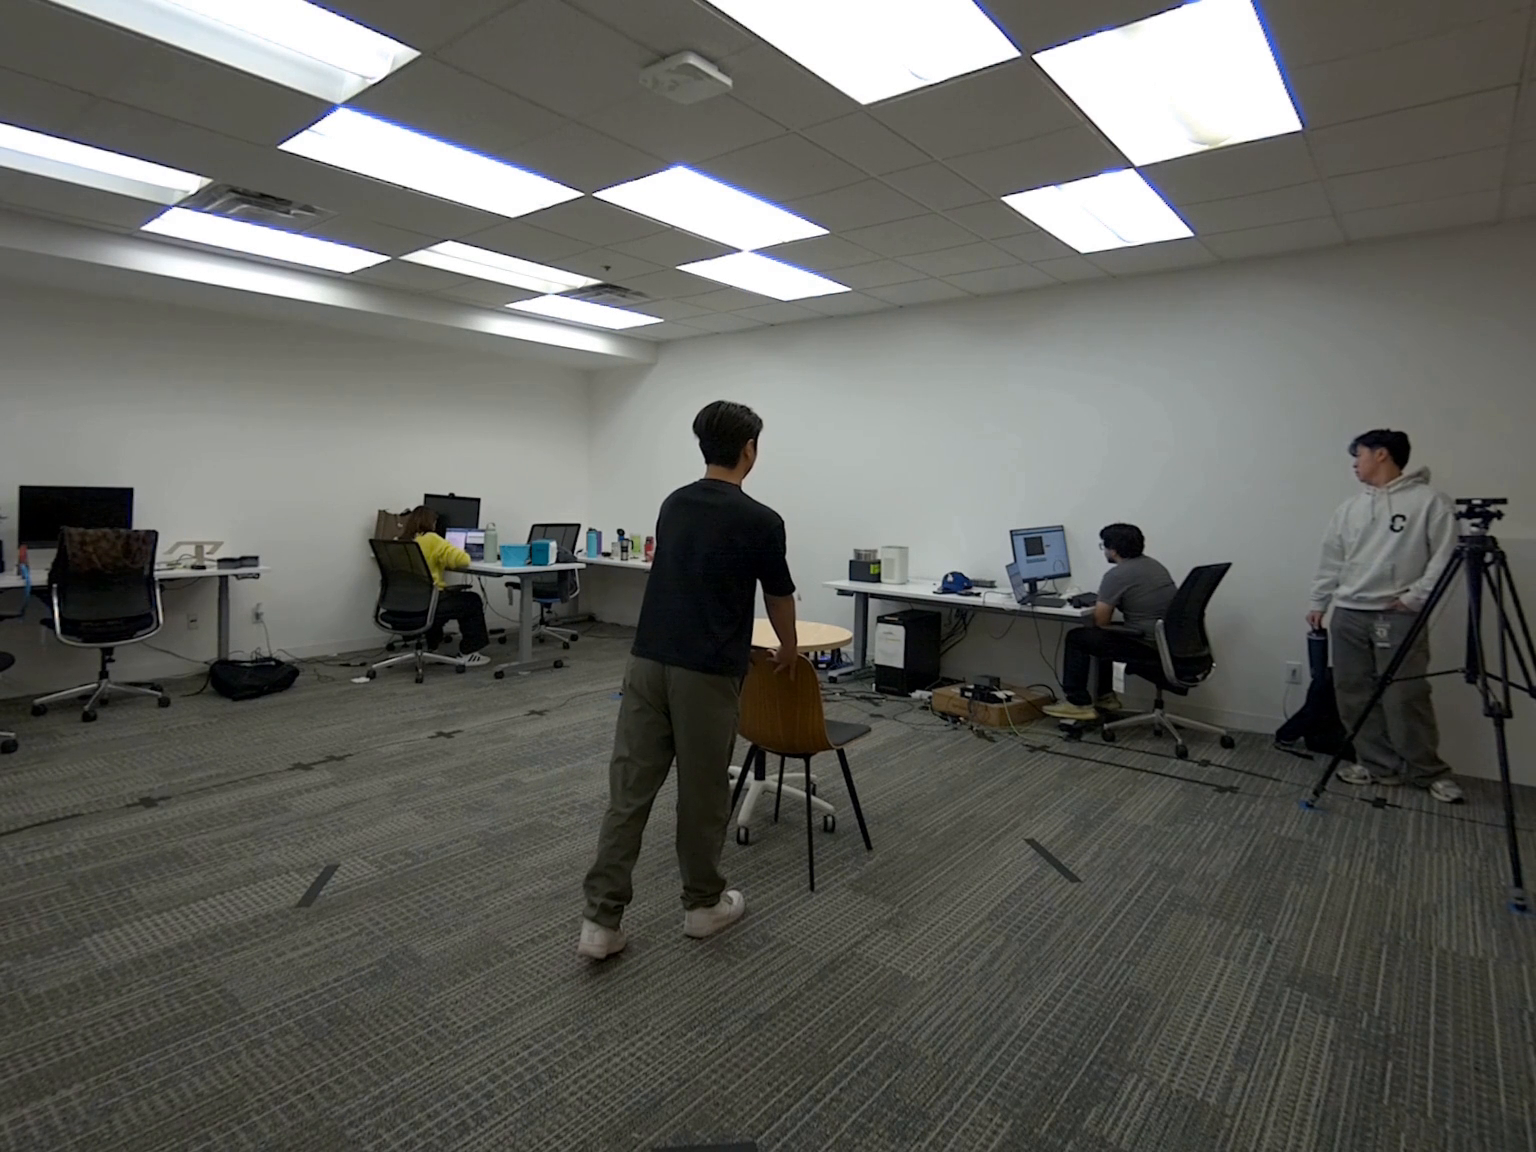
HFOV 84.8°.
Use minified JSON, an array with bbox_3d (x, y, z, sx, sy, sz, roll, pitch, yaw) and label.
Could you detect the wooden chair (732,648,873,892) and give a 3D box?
[{"bbox_3d":[0.097,0.631,3.238,0.493,0.871,0.510,4,9,35],"label":"wooden chair"}]
